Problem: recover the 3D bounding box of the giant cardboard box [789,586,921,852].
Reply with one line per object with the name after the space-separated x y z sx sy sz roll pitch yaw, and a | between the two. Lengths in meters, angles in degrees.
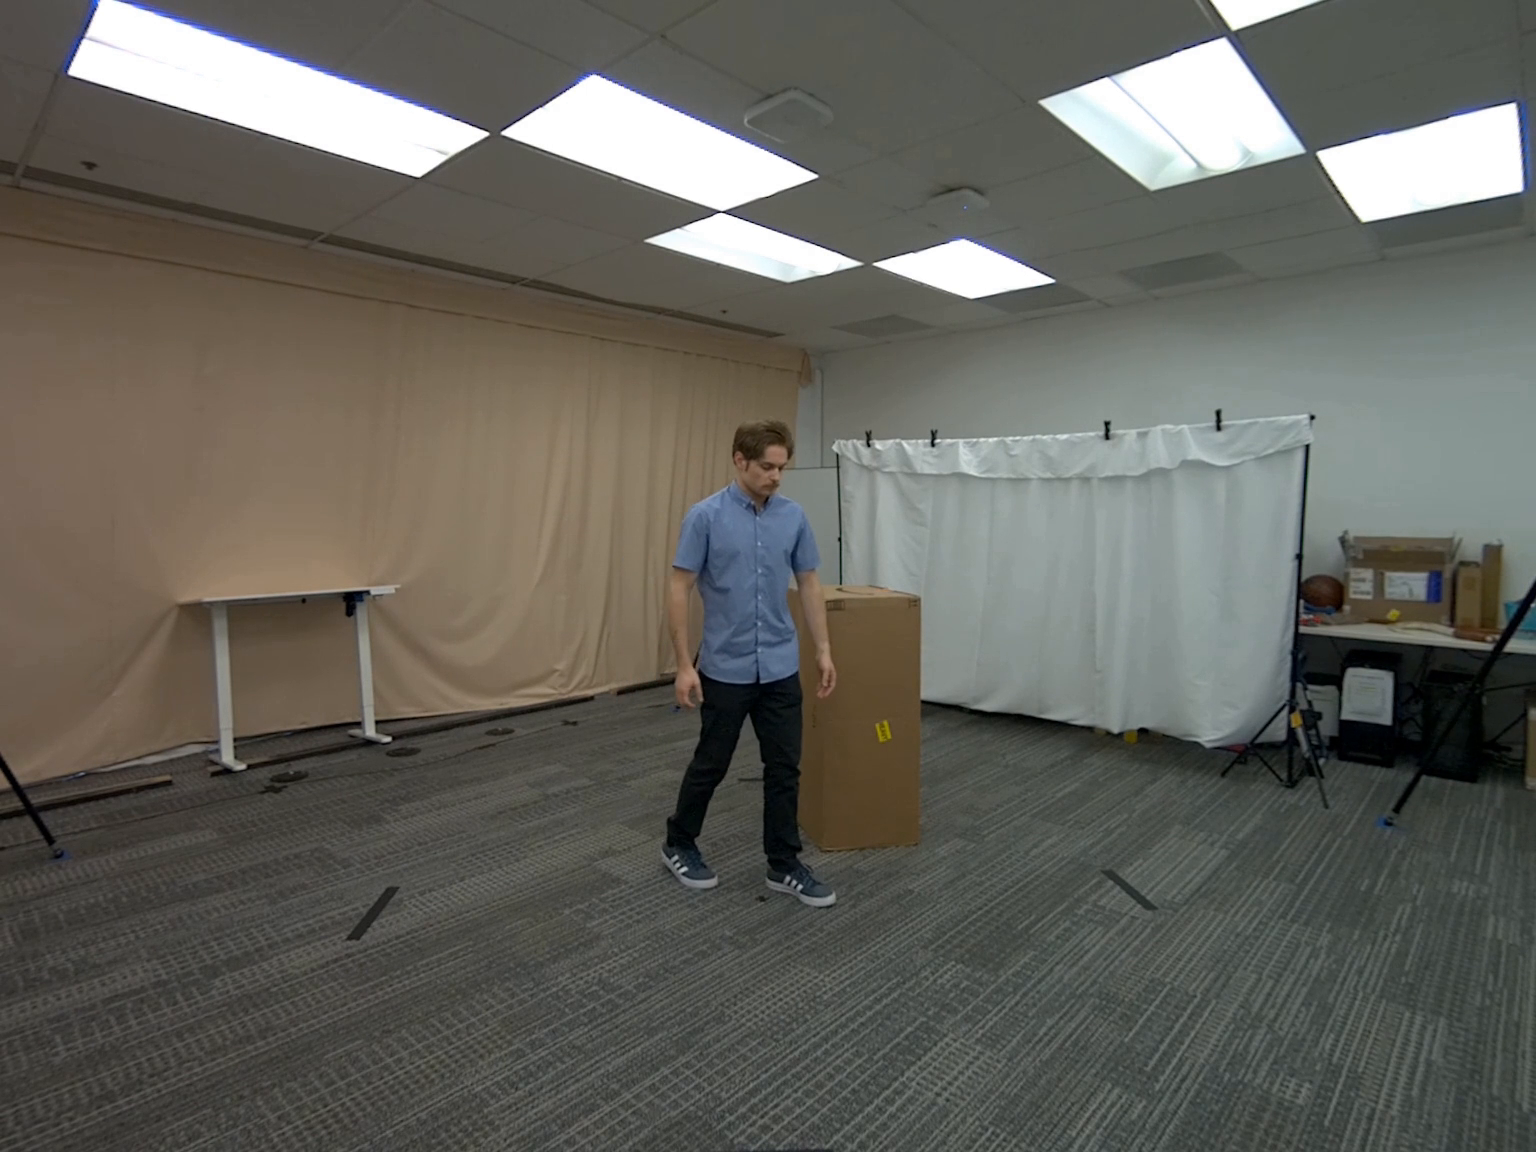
0.353 0.577 3.681 0.420 1.024 0.587 0 3 -14 | giant cardboard box
